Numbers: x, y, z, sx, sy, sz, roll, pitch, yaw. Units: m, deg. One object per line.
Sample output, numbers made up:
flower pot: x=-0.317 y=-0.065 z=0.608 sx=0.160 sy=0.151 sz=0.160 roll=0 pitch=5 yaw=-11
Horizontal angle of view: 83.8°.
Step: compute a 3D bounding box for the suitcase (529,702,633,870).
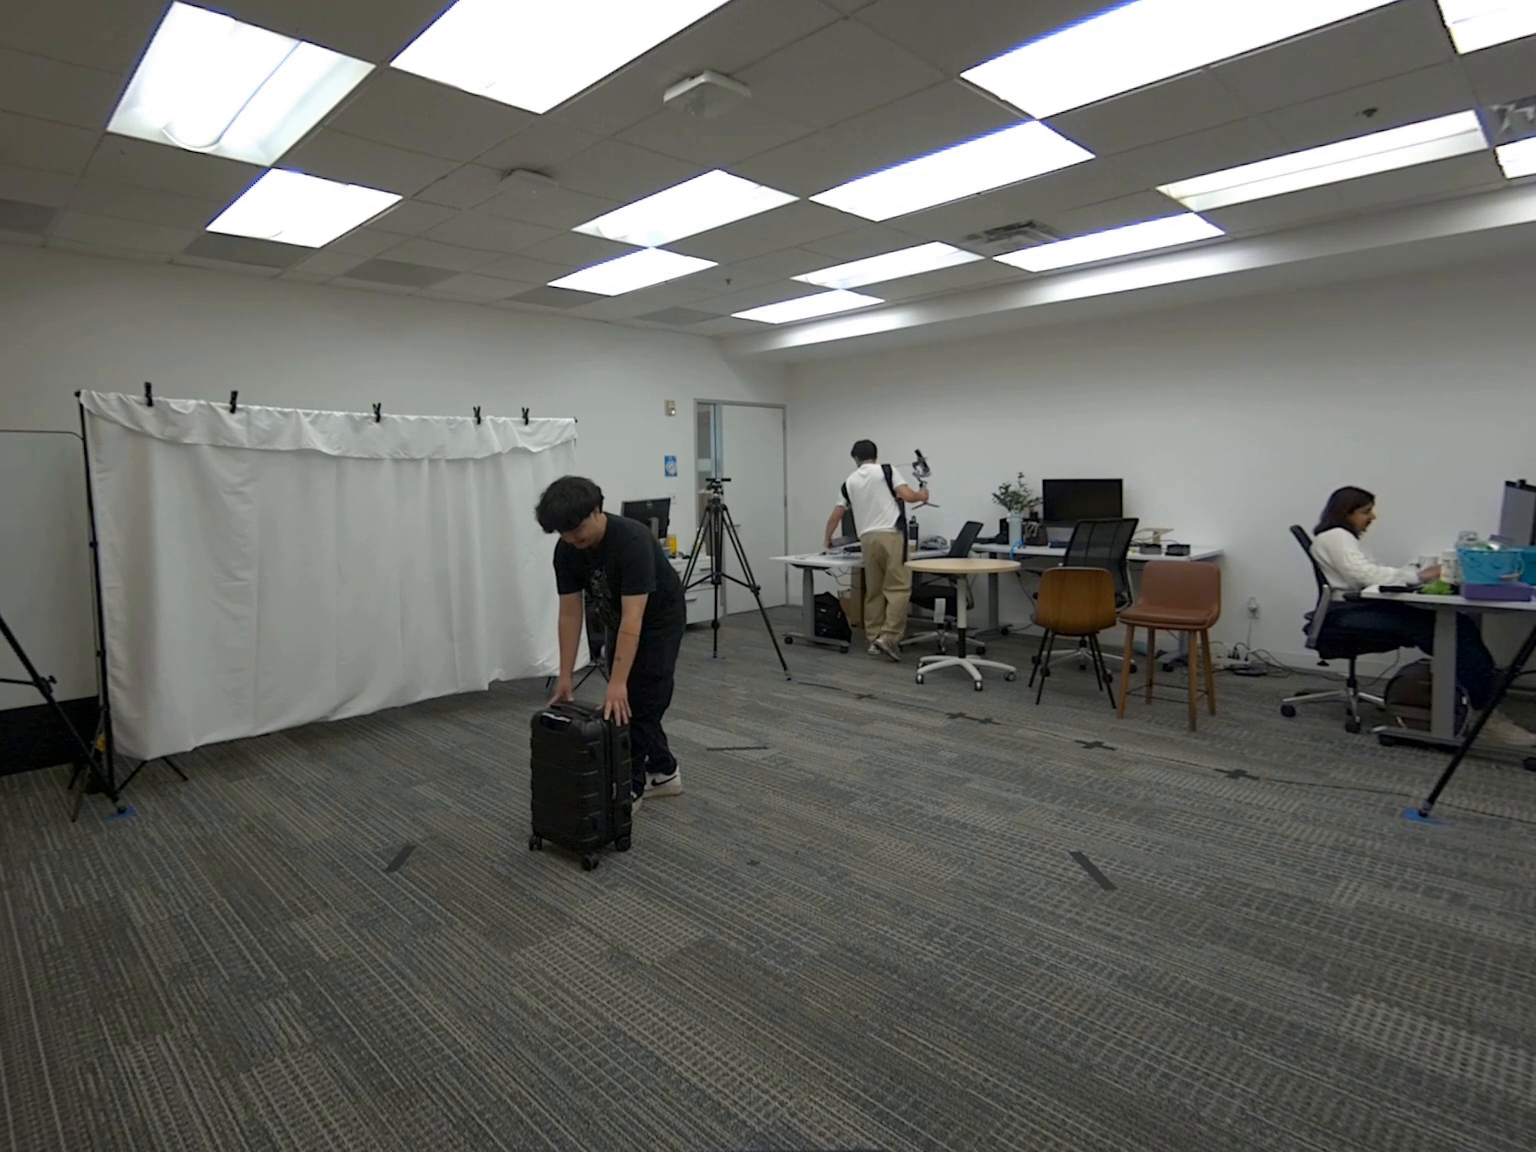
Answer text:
suitcase: x=-0.719 y=0.766 z=3.254 sx=0.386 sy=0.548 sz=0.241 roll=1 pitch=3 yaw=41
